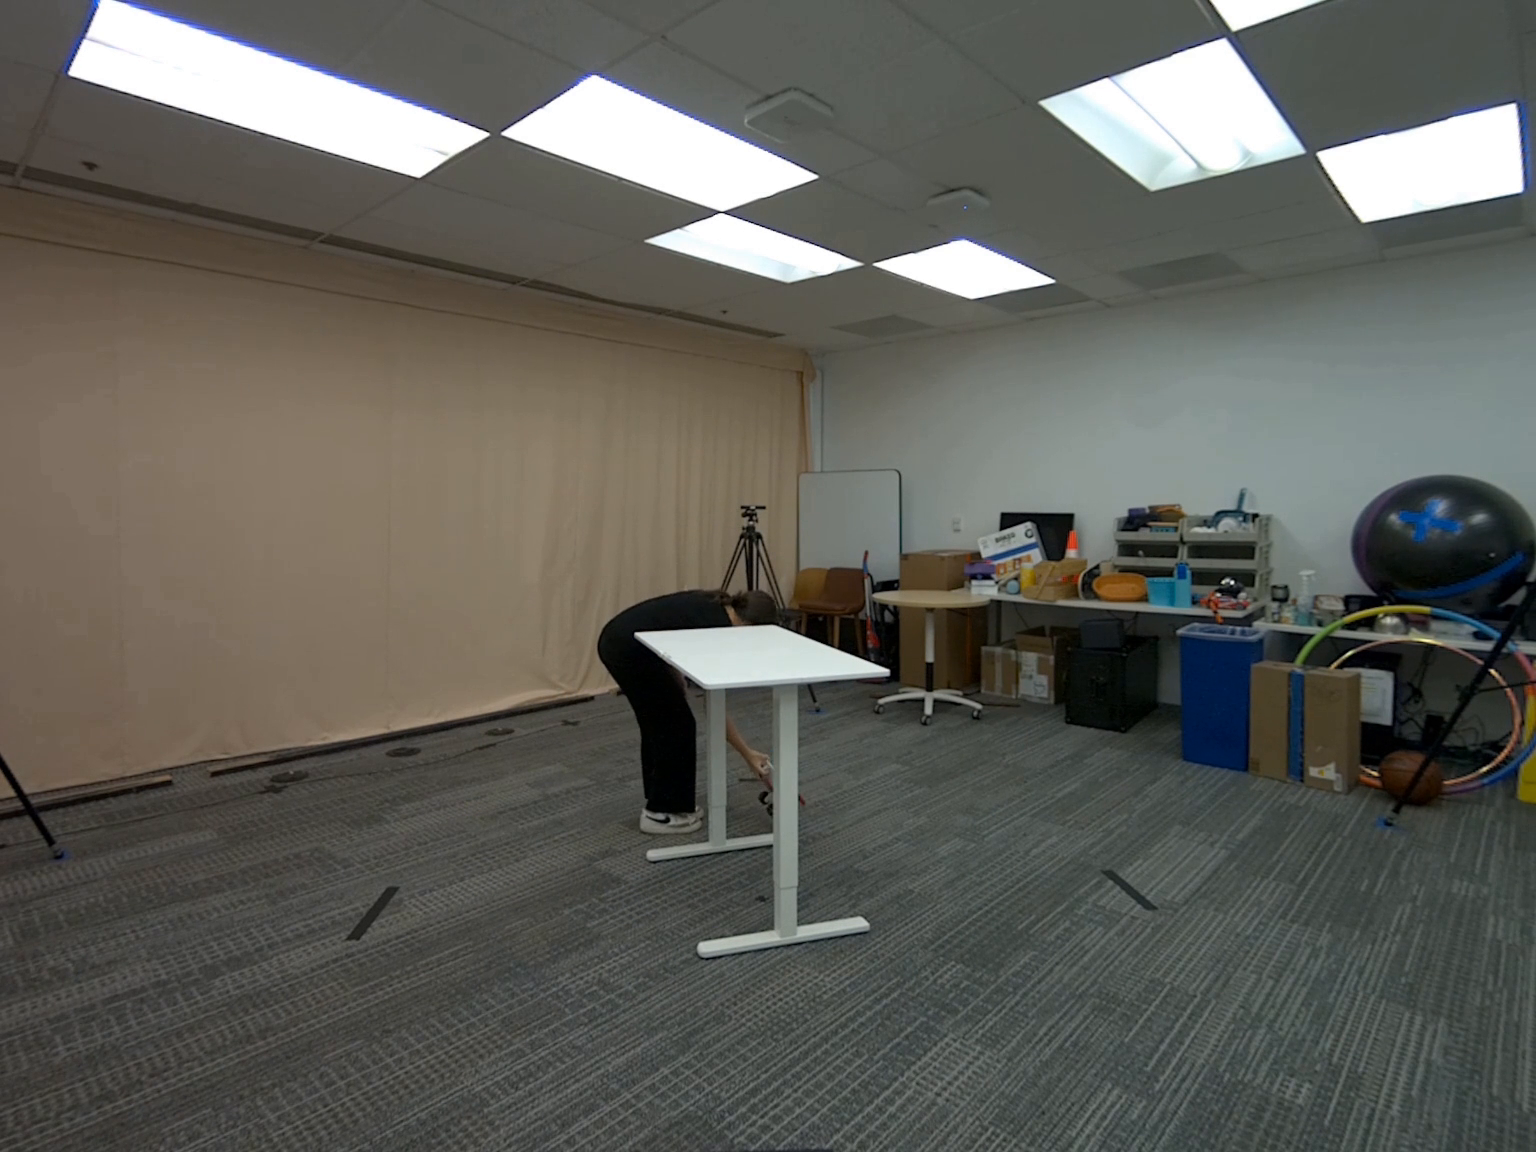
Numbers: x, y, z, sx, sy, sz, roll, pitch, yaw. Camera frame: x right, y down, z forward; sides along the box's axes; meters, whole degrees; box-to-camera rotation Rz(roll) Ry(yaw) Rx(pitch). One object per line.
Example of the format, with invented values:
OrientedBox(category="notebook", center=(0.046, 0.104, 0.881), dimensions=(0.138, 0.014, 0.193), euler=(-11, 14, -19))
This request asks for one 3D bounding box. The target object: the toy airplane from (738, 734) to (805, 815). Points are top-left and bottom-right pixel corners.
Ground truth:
OrientedBox(category="toy airplane", center=(0.043, 0.905, 3.623), dimensions=(0.154, 0.259, 0.255), euler=(-15, -36, -19))
